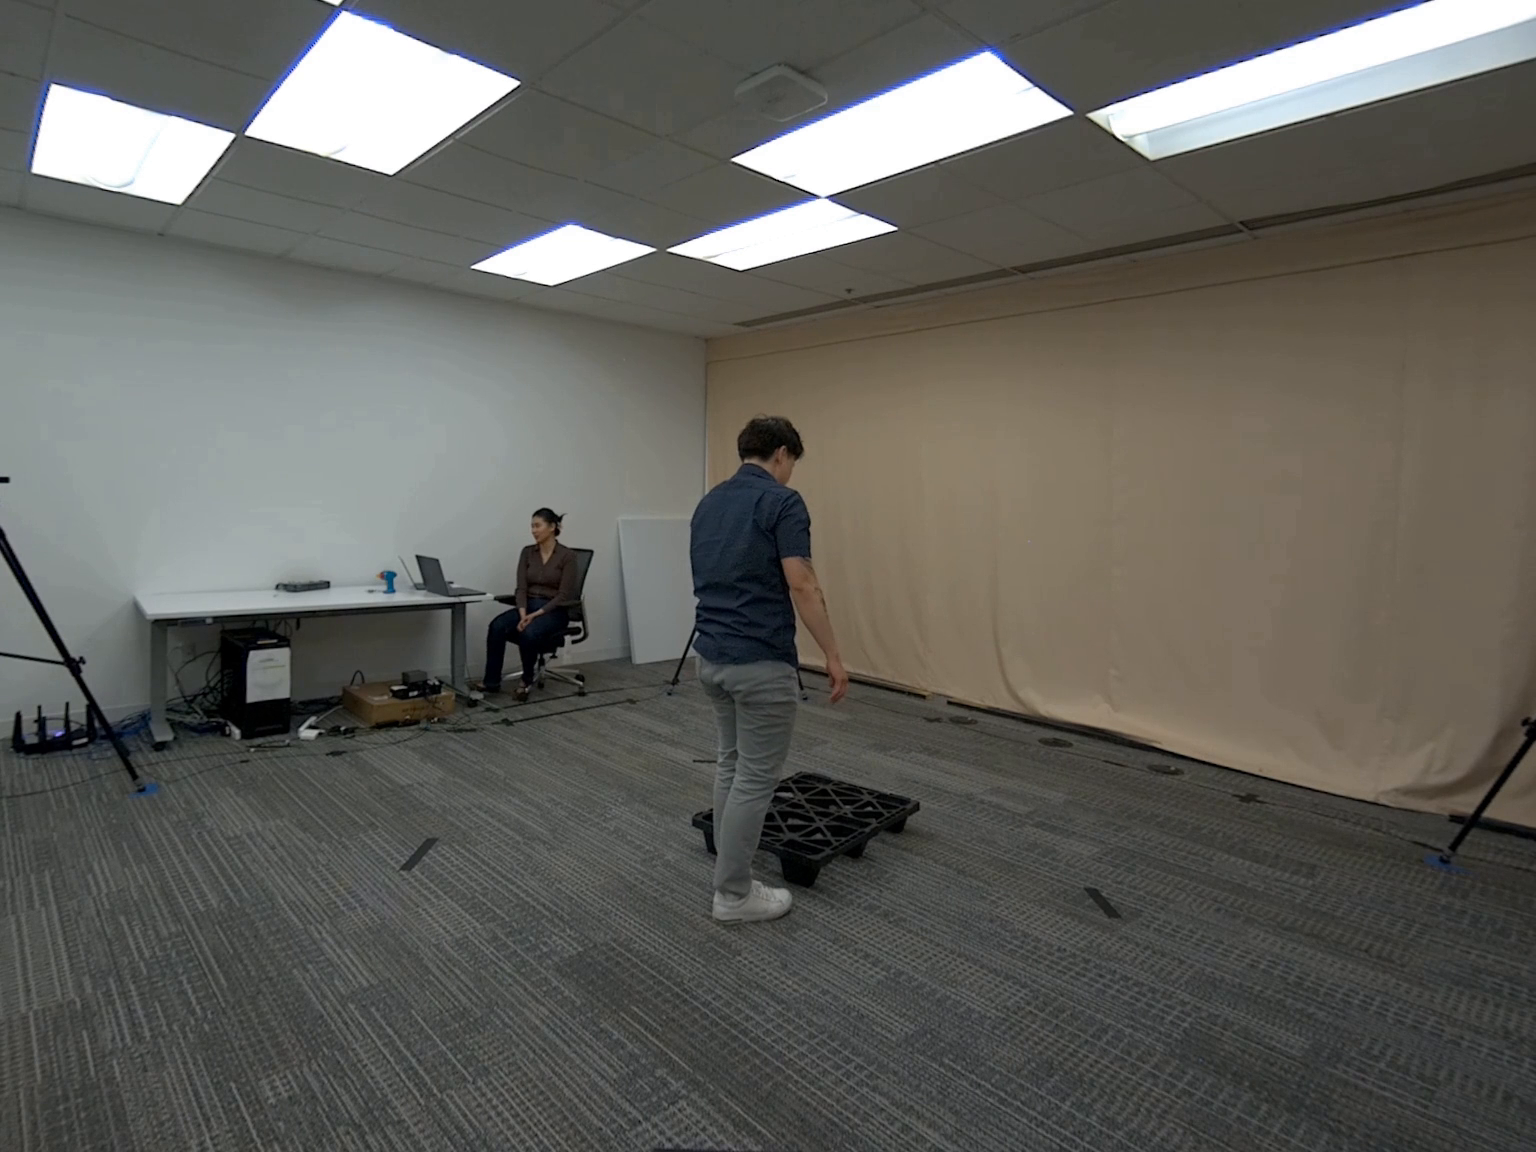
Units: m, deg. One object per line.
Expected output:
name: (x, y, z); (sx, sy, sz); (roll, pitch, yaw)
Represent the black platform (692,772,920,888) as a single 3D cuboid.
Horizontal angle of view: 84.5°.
black platform: (0.164, 1.014, 3.431); (0.620, 0.143, 0.788); (6, 7, 37)
